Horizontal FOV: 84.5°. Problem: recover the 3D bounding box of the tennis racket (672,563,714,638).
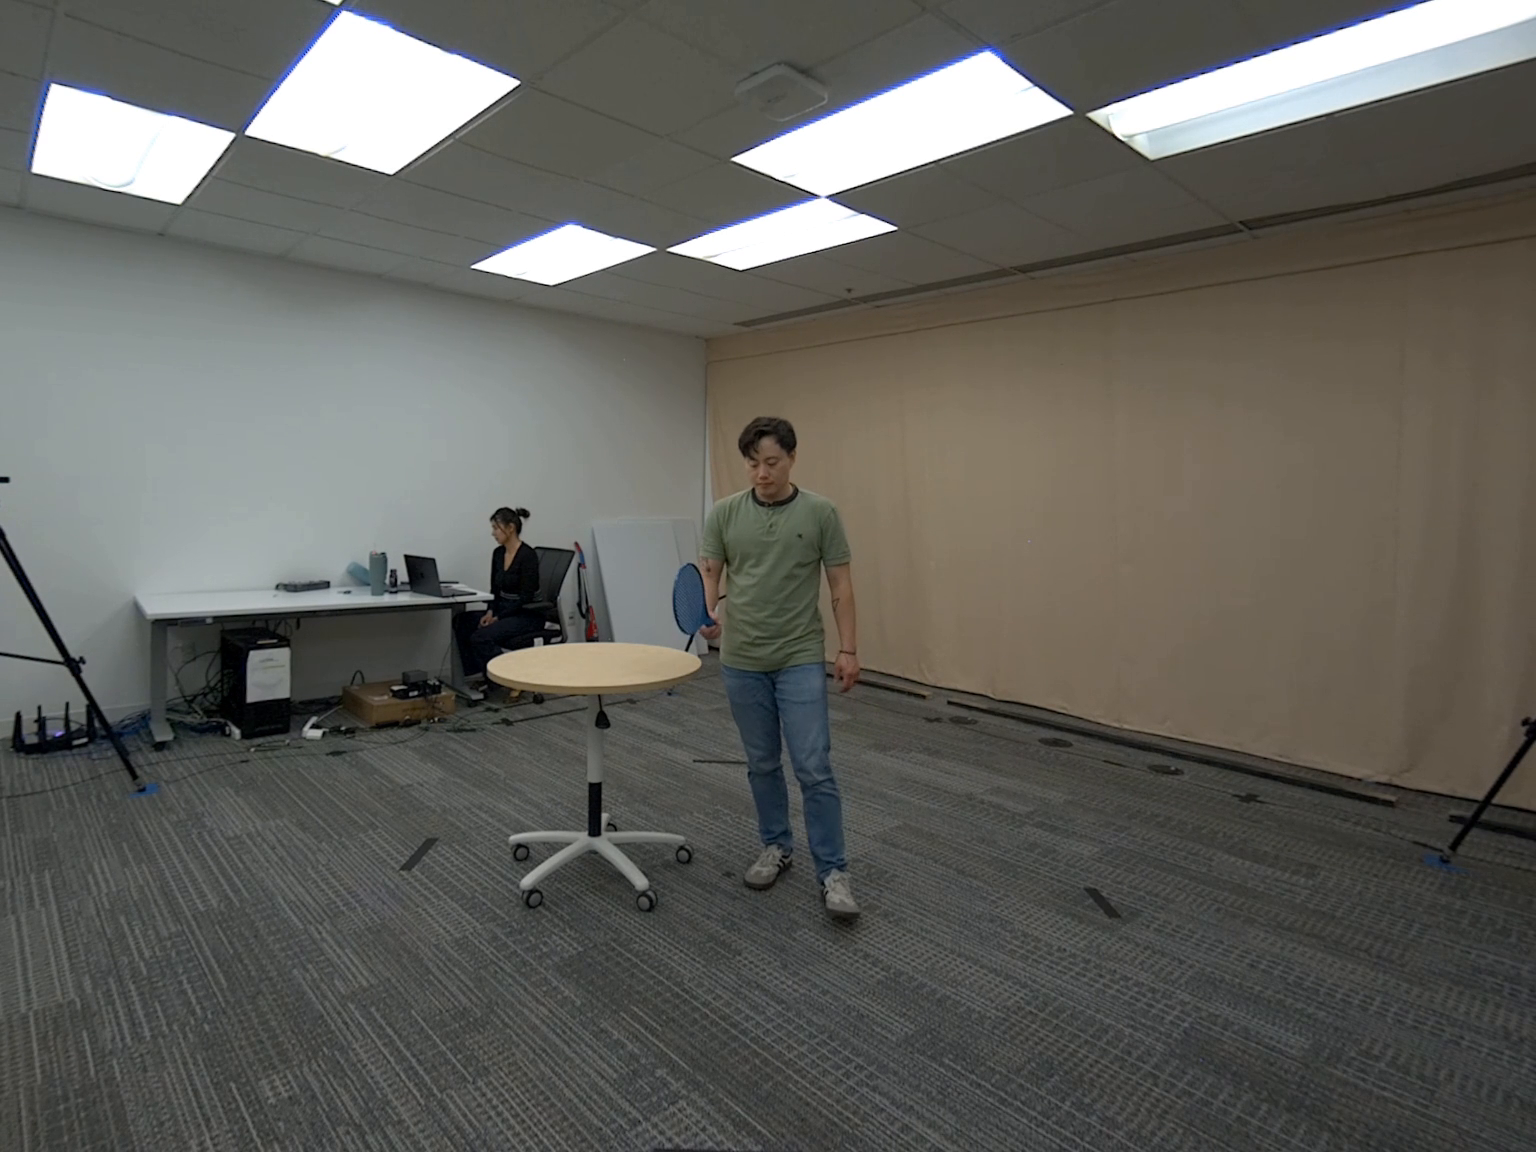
[{"bbox_3d":[-0.214,0.103,2.651,0.032,0.217,0.423,-4,-20,9],"label":"tennis racket"}]
